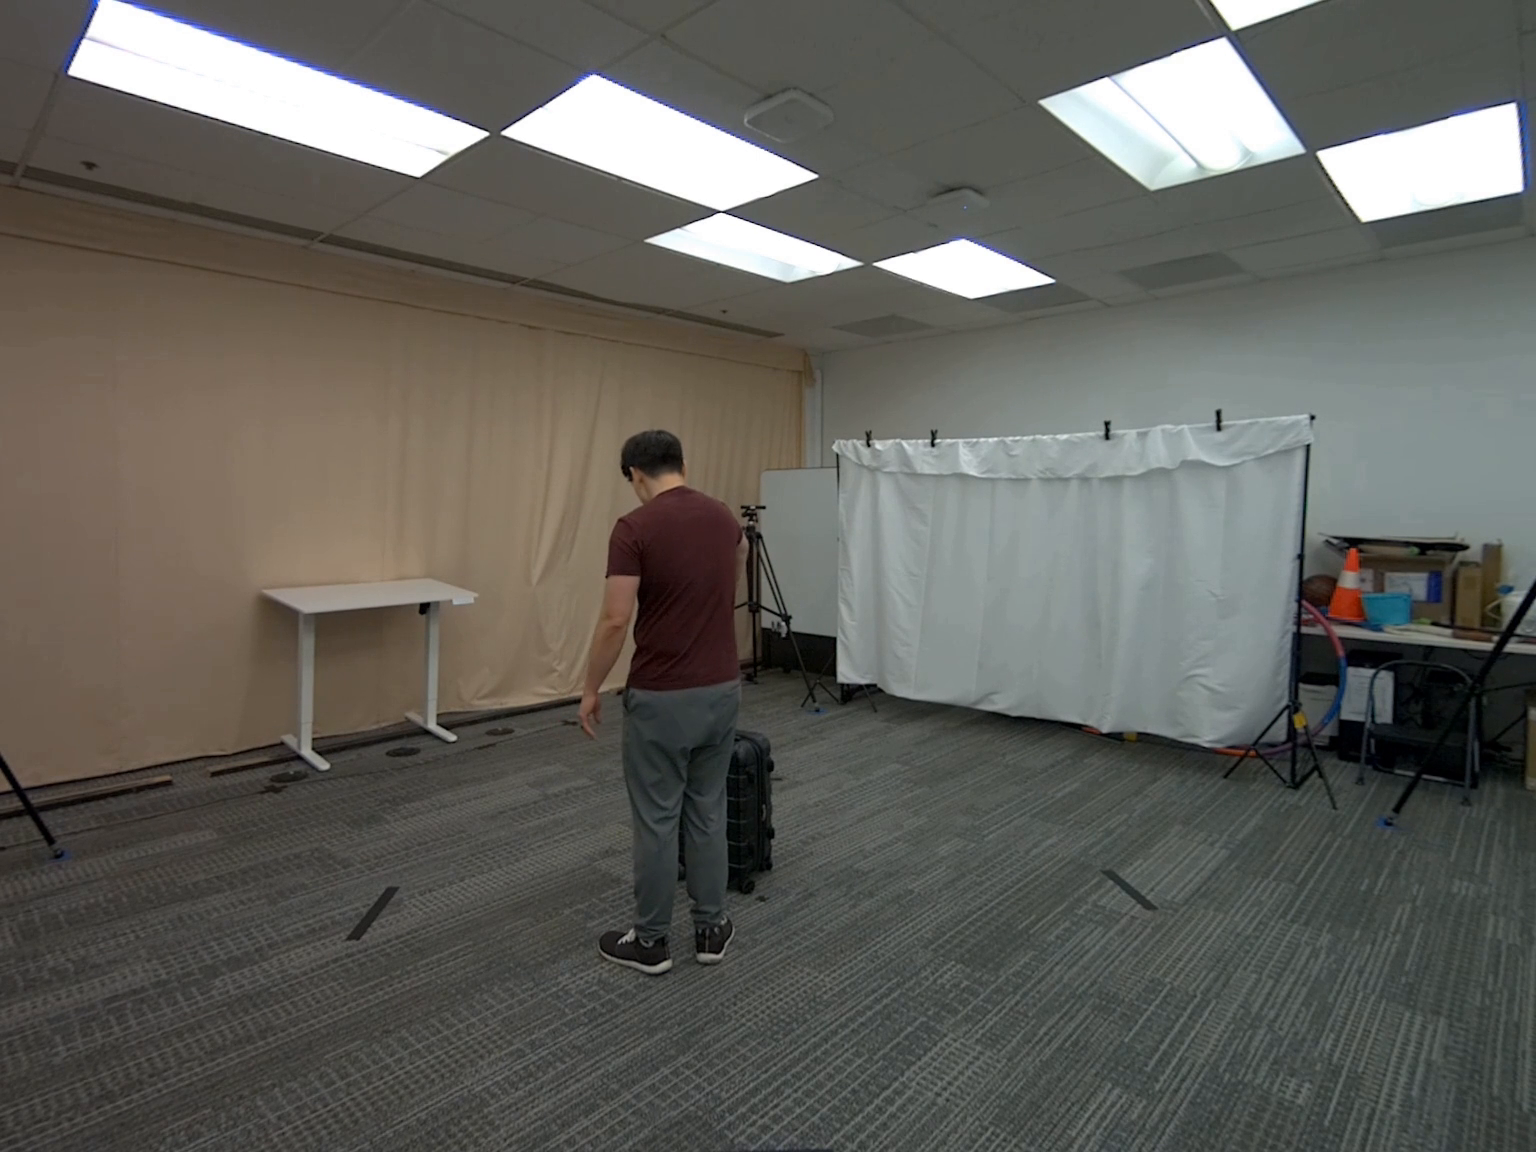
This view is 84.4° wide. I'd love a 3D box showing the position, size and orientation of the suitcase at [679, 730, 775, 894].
[{"bbox_3d":[-0.180,0.652,3.172,0.395,0.978,0.250,-1,0,32],"label":"suitcase"}]
